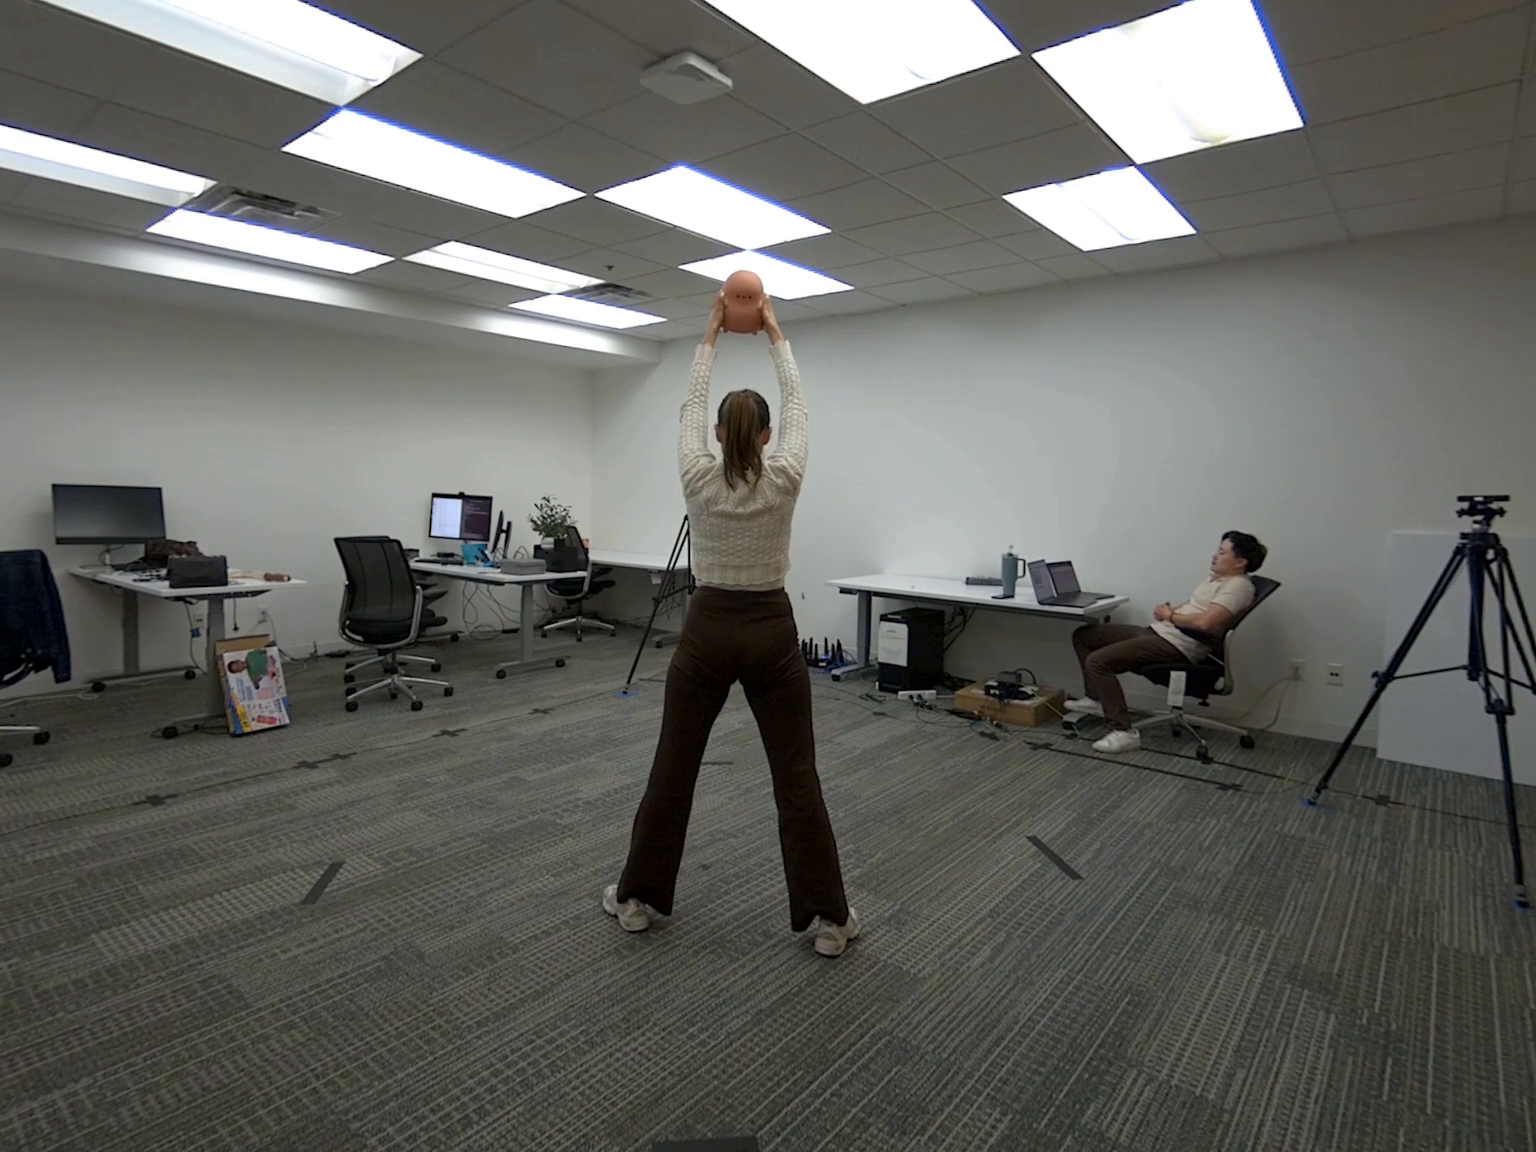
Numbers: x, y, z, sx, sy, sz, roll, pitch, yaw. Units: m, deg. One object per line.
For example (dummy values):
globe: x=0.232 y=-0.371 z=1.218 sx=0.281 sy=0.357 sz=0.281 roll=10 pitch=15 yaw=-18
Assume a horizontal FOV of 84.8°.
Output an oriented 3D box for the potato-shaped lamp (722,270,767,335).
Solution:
potato-shaped lamp: x=-0.087 y=-0.938 z=2.872 sx=0.164 sy=0.194 sz=0.176 roll=9 pitch=44 yaw=-4
